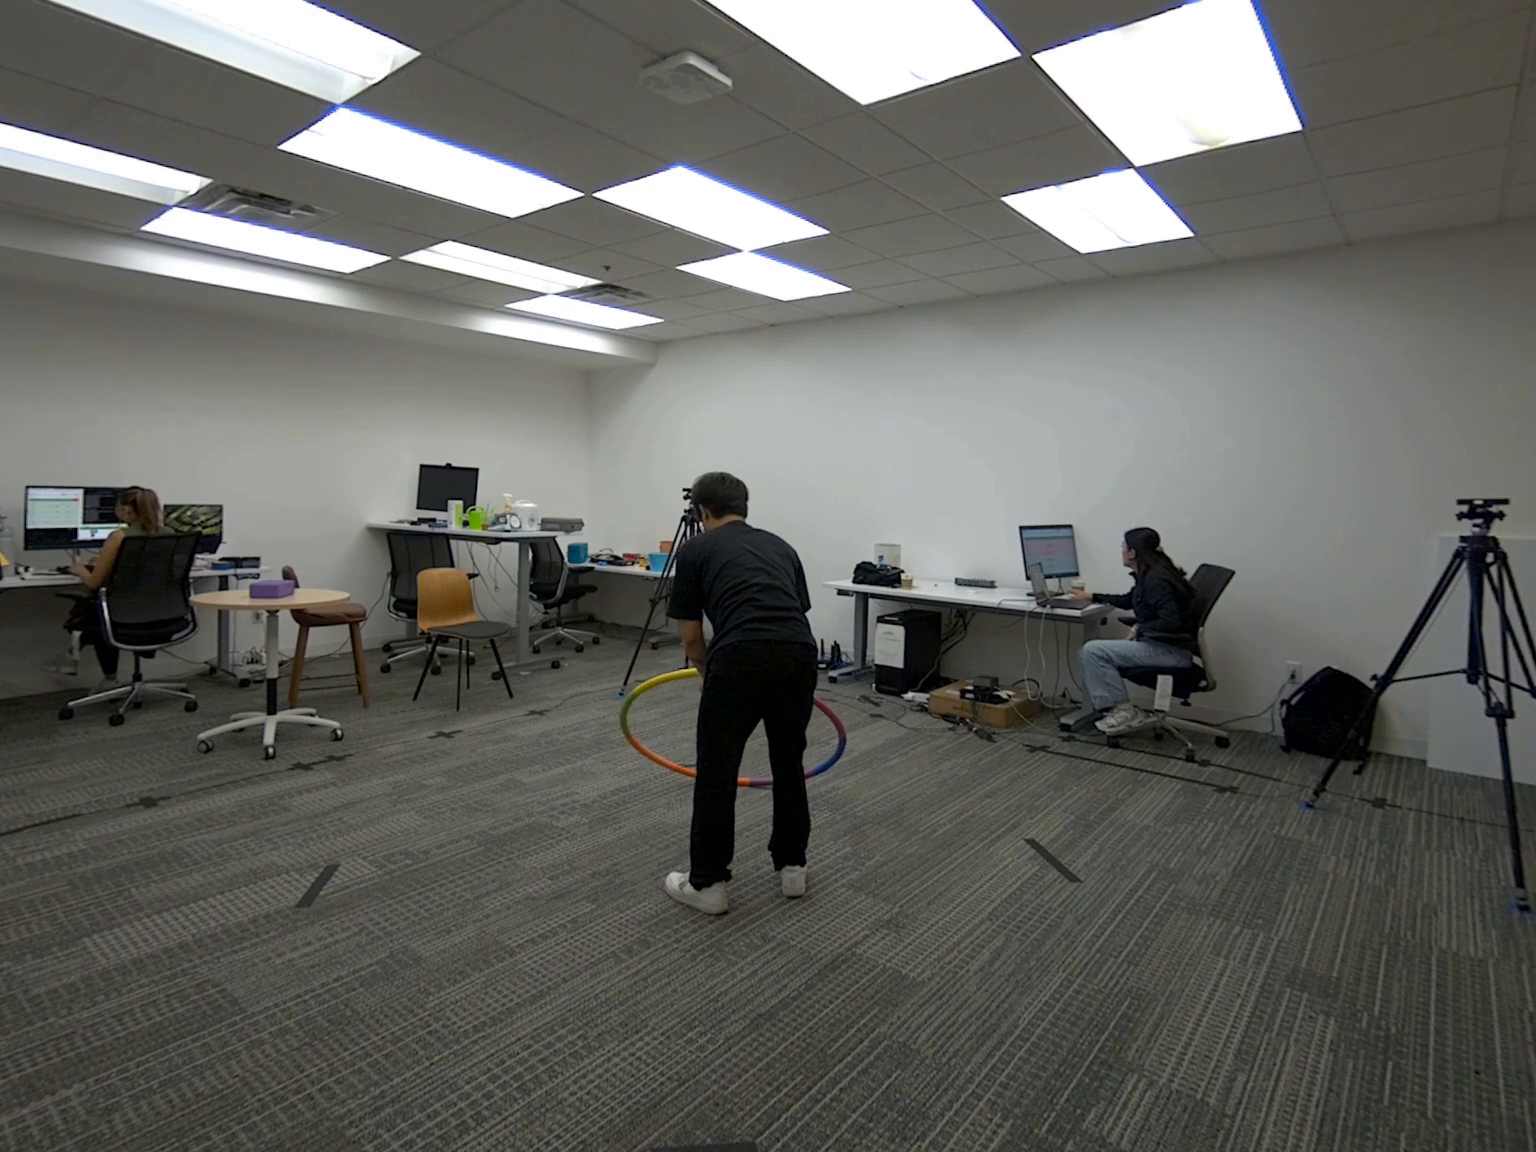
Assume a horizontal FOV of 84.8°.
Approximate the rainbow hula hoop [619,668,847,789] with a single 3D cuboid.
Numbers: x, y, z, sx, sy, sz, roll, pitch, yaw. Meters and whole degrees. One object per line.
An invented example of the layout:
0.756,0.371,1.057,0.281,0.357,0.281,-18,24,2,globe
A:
-0.172,0.674,3.656,0.983,0.036,0.952,6,-39,3,rainbow hula hoop
